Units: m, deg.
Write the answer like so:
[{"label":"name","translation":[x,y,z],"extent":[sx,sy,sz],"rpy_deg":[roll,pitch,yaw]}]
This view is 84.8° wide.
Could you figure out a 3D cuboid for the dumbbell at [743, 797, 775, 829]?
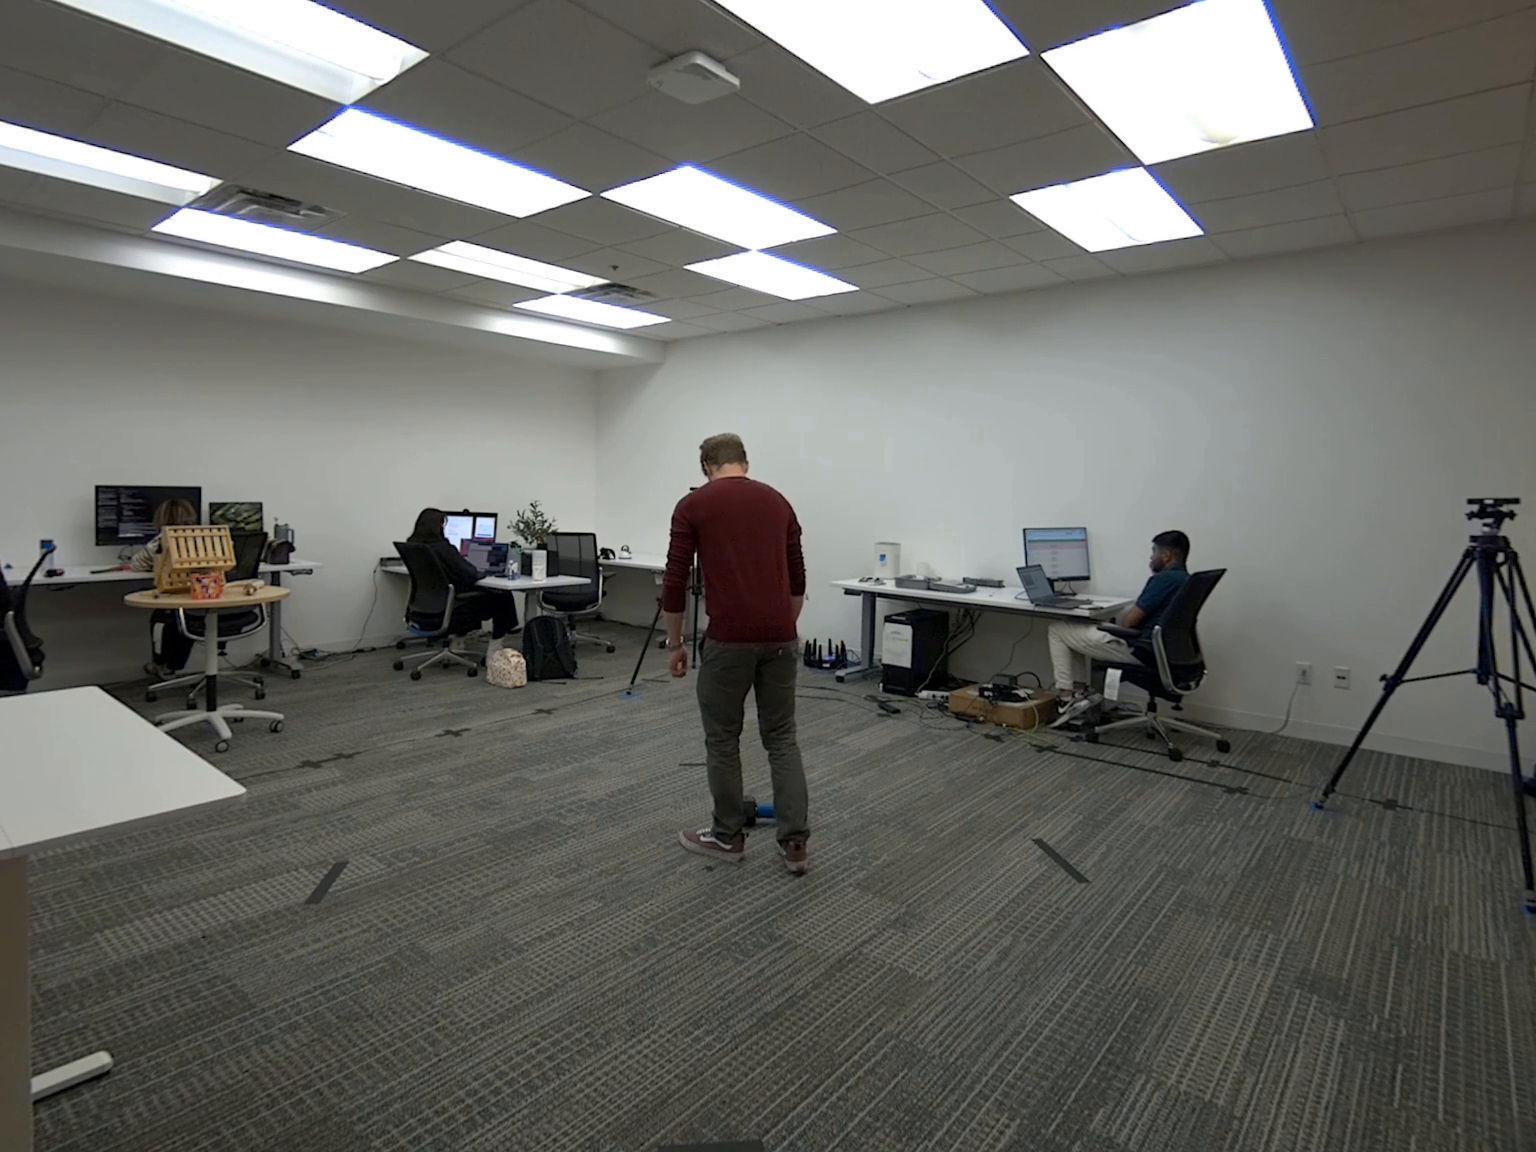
[{"label":"dumbbell","translation":[0.005,0.974,3.536],"extent":[0.292,0.120,0.112],"rpy_deg":[1,33,-4]}]
